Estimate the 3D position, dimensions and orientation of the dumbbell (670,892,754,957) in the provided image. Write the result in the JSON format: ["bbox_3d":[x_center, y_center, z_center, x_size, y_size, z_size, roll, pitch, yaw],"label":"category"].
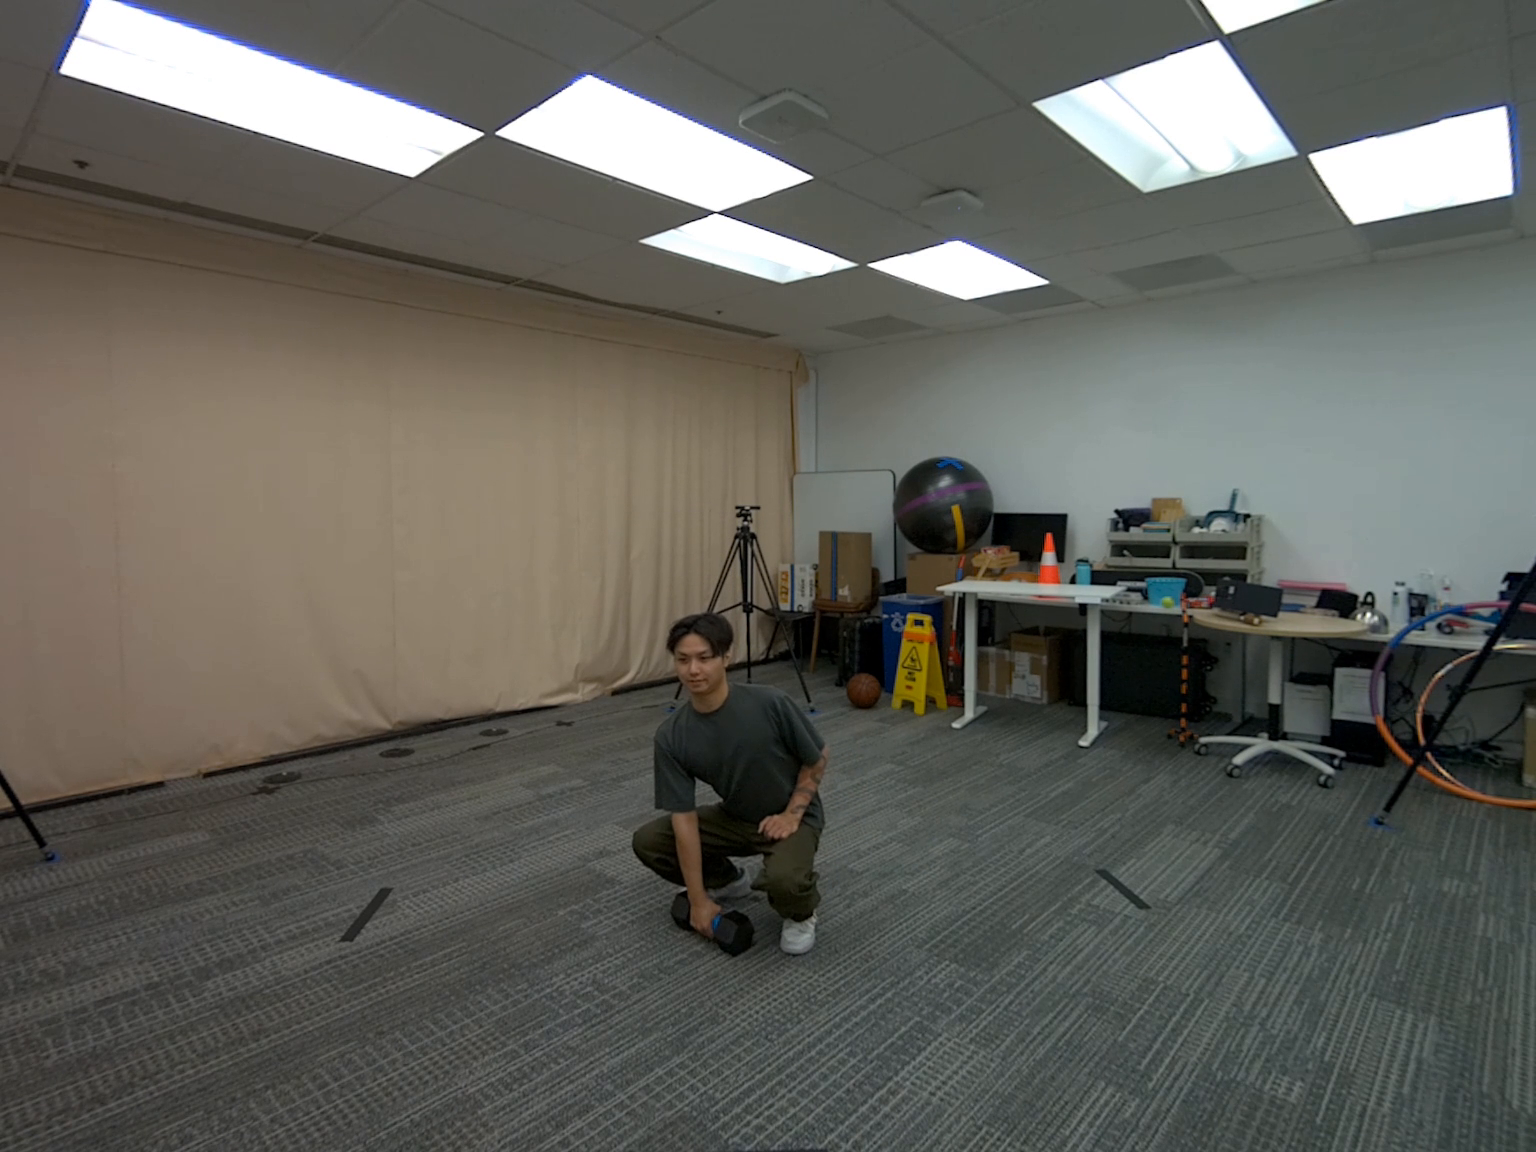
[{"bbox_3d":[-0.183,1.110,2.724,0.303,0.120,0.107,4,35,46],"label":"dumbbell"}]
